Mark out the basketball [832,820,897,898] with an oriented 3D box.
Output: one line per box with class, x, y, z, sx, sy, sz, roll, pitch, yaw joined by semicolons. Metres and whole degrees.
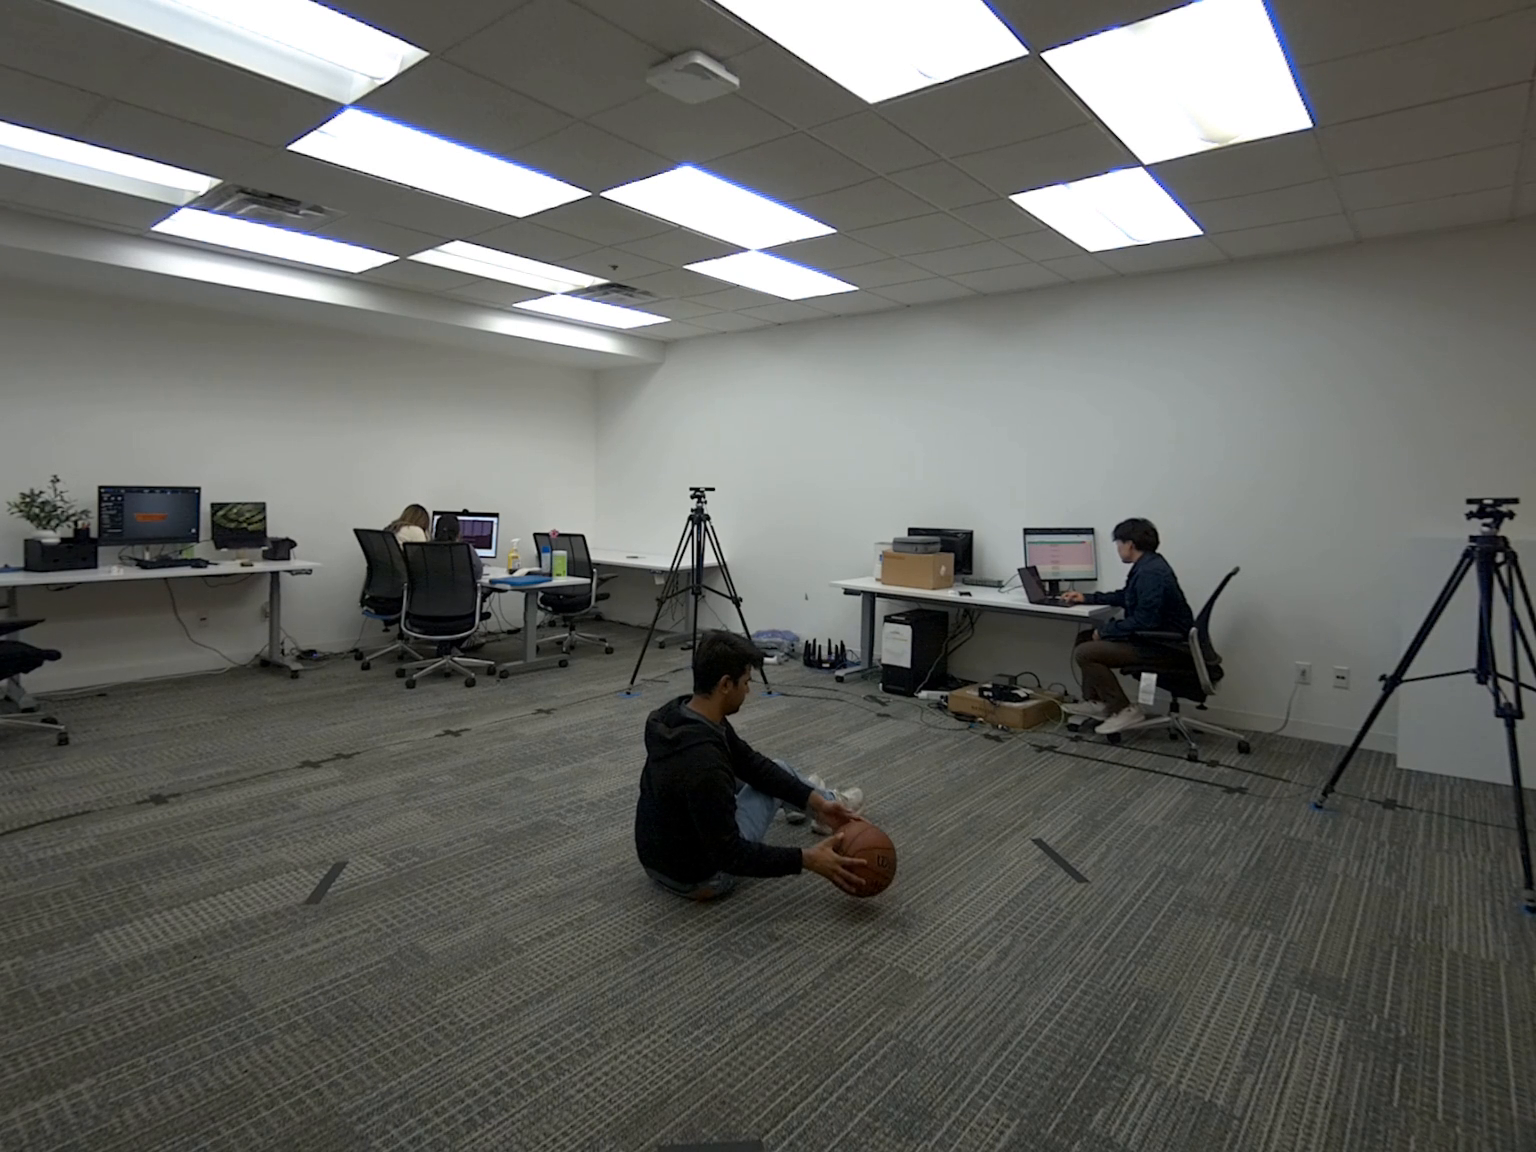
basketball;0.302;0.939;2.842;0.235;0.235;0.237;1;4;-2
